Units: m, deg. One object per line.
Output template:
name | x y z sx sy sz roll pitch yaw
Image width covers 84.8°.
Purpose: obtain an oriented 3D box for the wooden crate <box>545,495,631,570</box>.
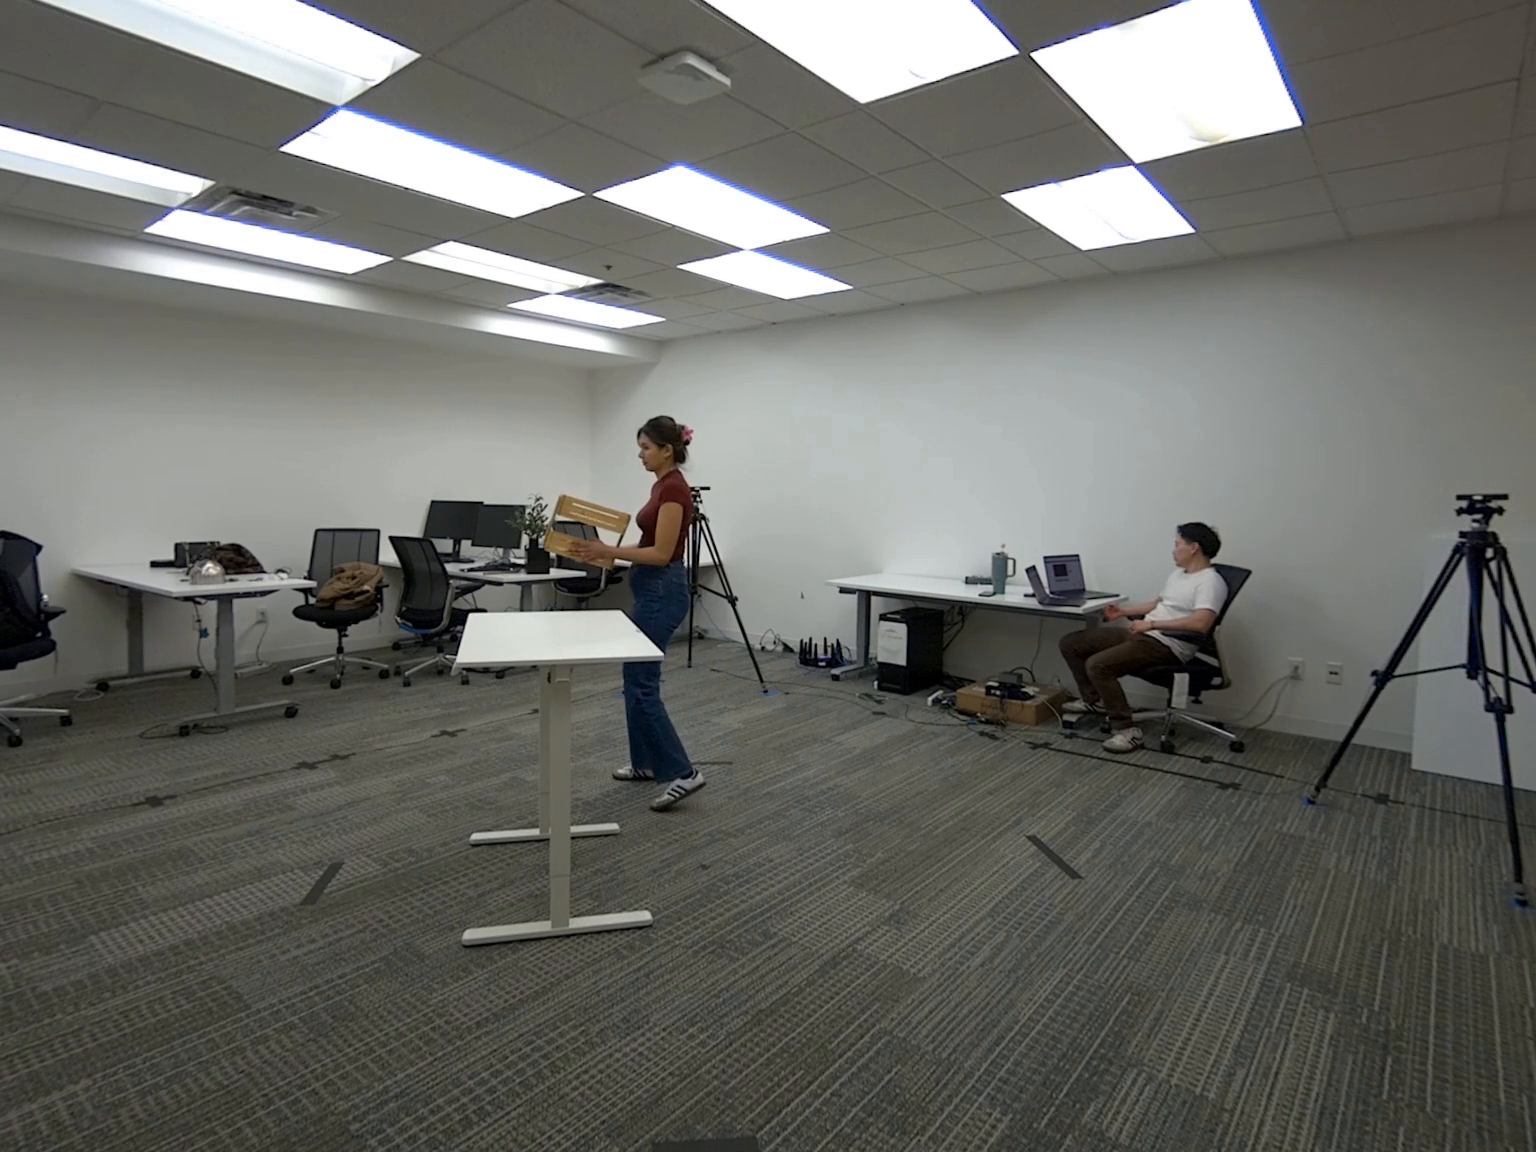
wooden crate | -0.825 -0.213 3.809 0.318 0.273 0.308 17 1 -17
